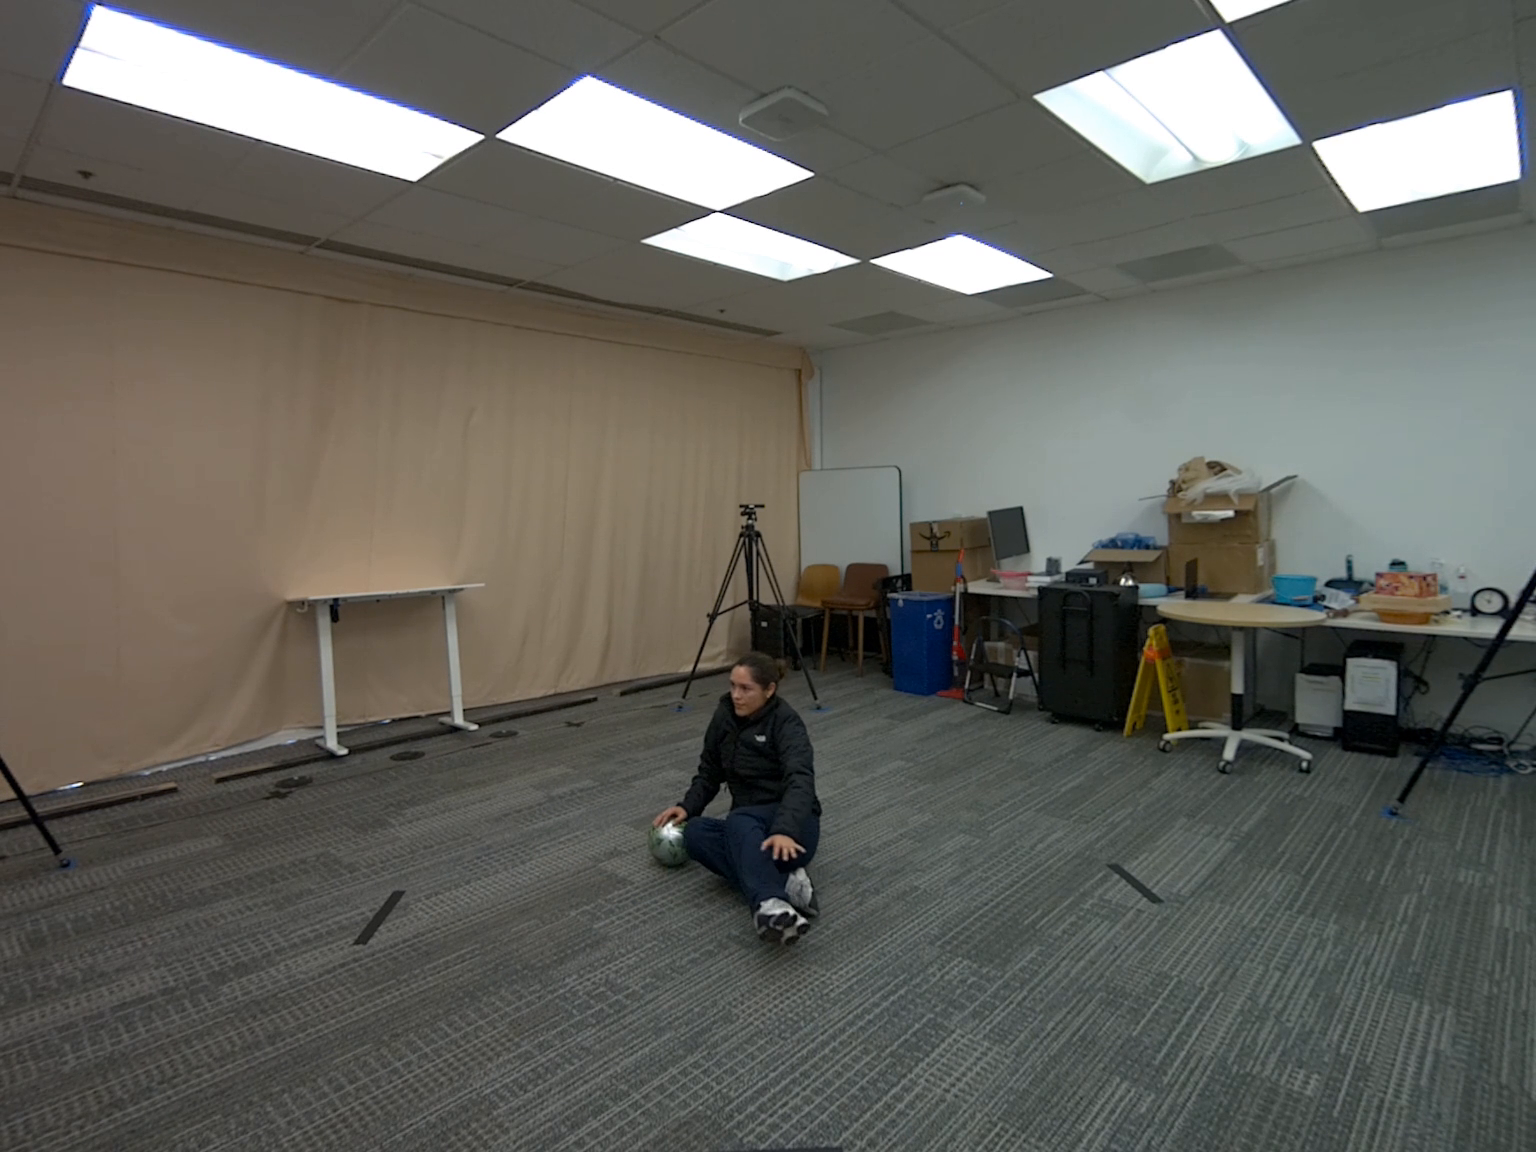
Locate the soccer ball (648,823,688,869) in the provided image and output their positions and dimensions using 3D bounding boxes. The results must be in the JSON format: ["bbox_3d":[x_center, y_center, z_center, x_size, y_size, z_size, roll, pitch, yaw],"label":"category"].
[{"bbox_3d":[-0.375,1.031,3.279,0.187,0.187,0.188,-1,4,-2],"label":"soccer ball"}]
